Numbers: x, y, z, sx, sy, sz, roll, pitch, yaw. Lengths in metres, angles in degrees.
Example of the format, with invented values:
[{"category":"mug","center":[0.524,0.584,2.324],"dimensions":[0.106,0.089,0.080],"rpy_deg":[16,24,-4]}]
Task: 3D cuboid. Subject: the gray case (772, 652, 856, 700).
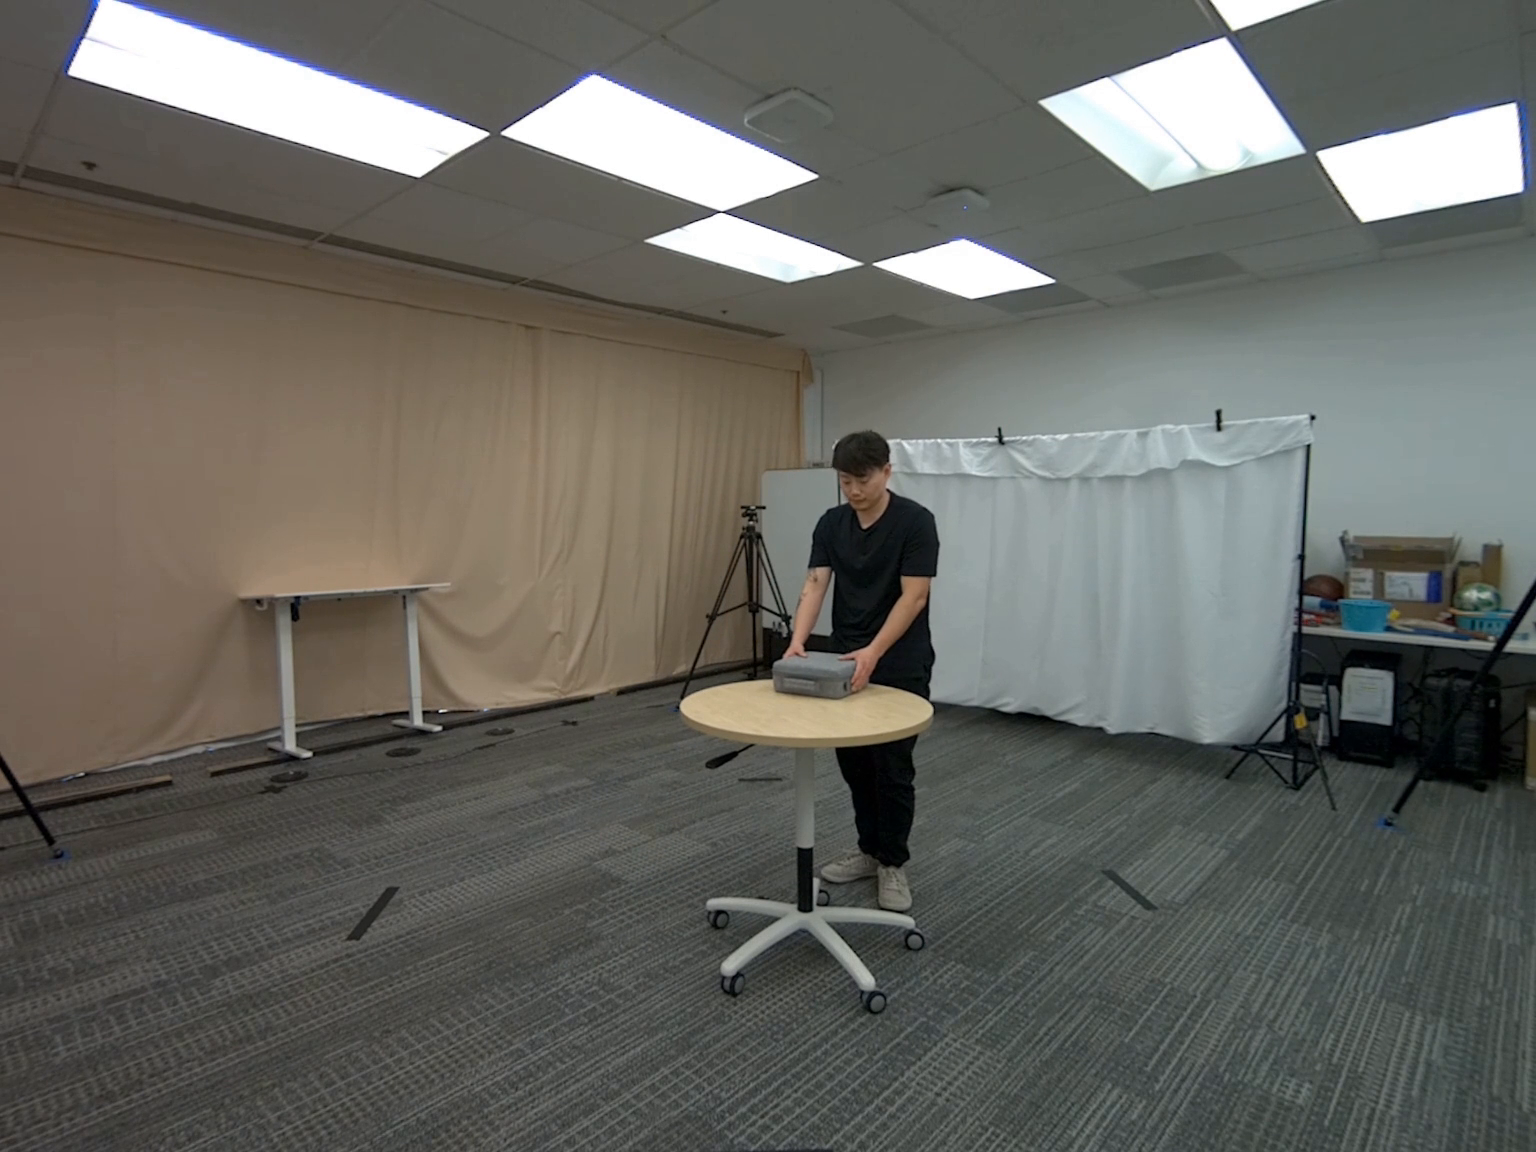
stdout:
[{"category":"gray case","center":[0.171,0.326,2.778],"dimensions":[0.264,0.104,0.254],"rpy_deg":[4,5,29]}]
